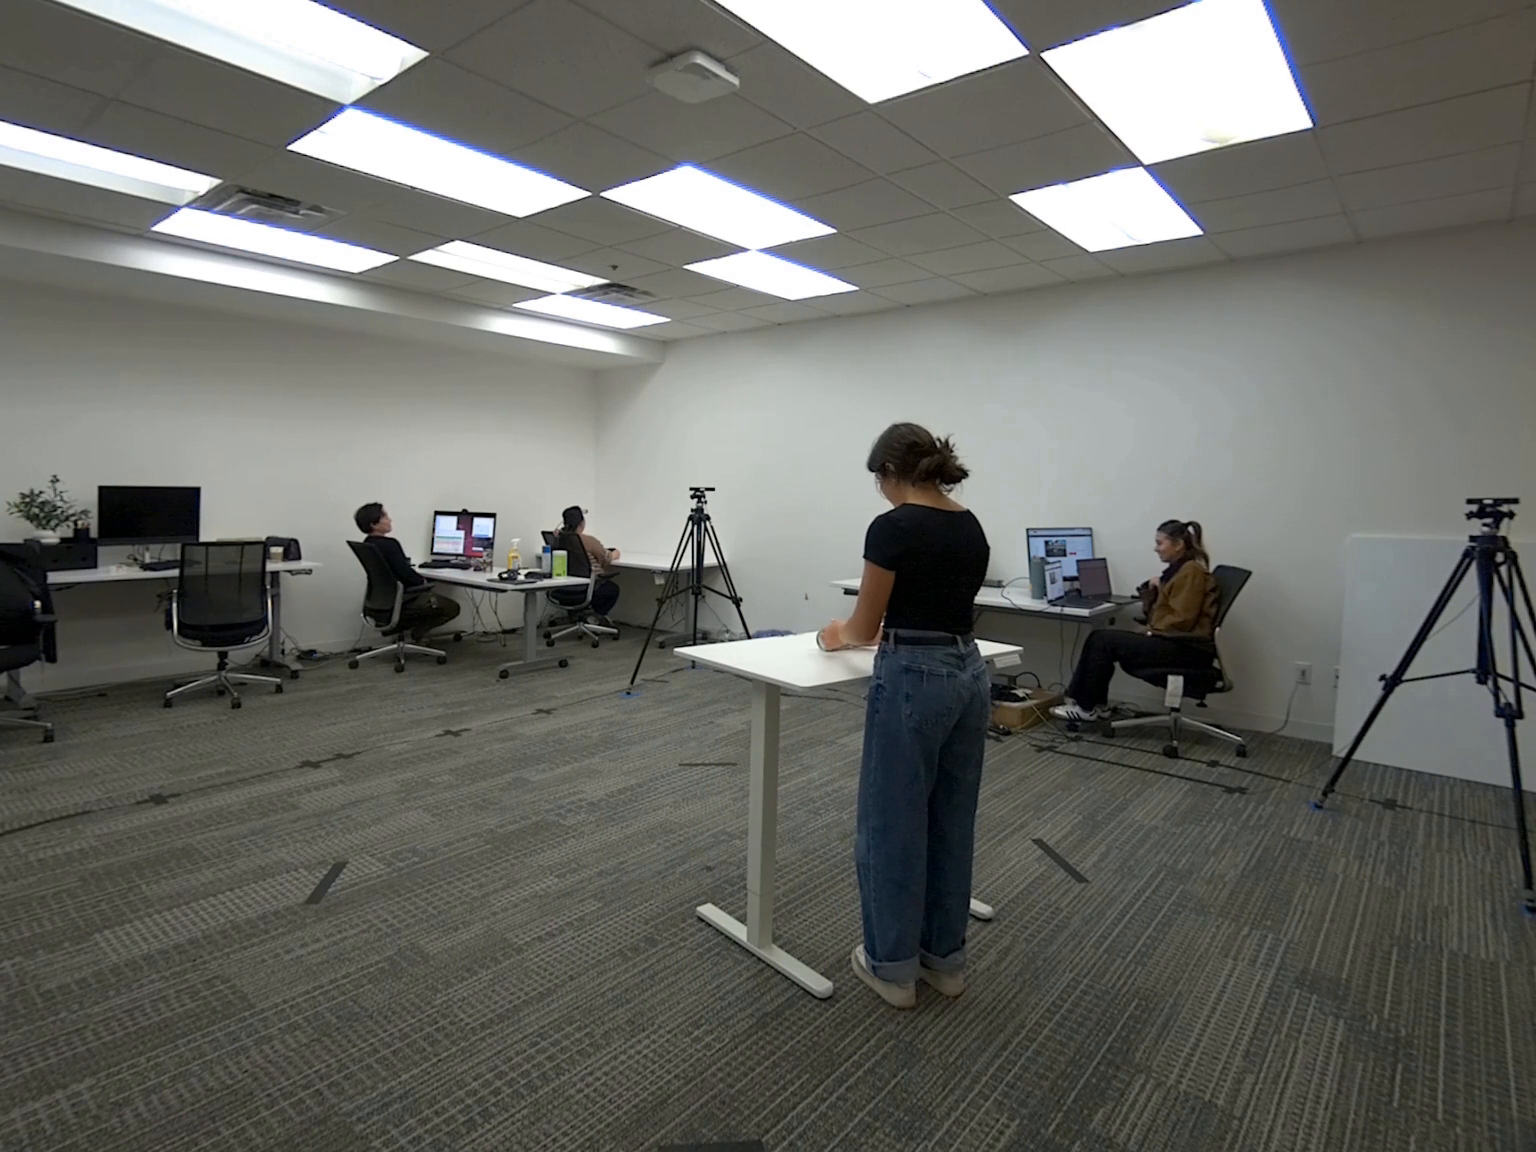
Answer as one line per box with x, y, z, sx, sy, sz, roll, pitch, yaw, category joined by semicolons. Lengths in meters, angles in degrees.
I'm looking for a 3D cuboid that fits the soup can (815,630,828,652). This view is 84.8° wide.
0.208;0.199;2.704;0.120;0.067;0.068;3;4;-8;soup can
